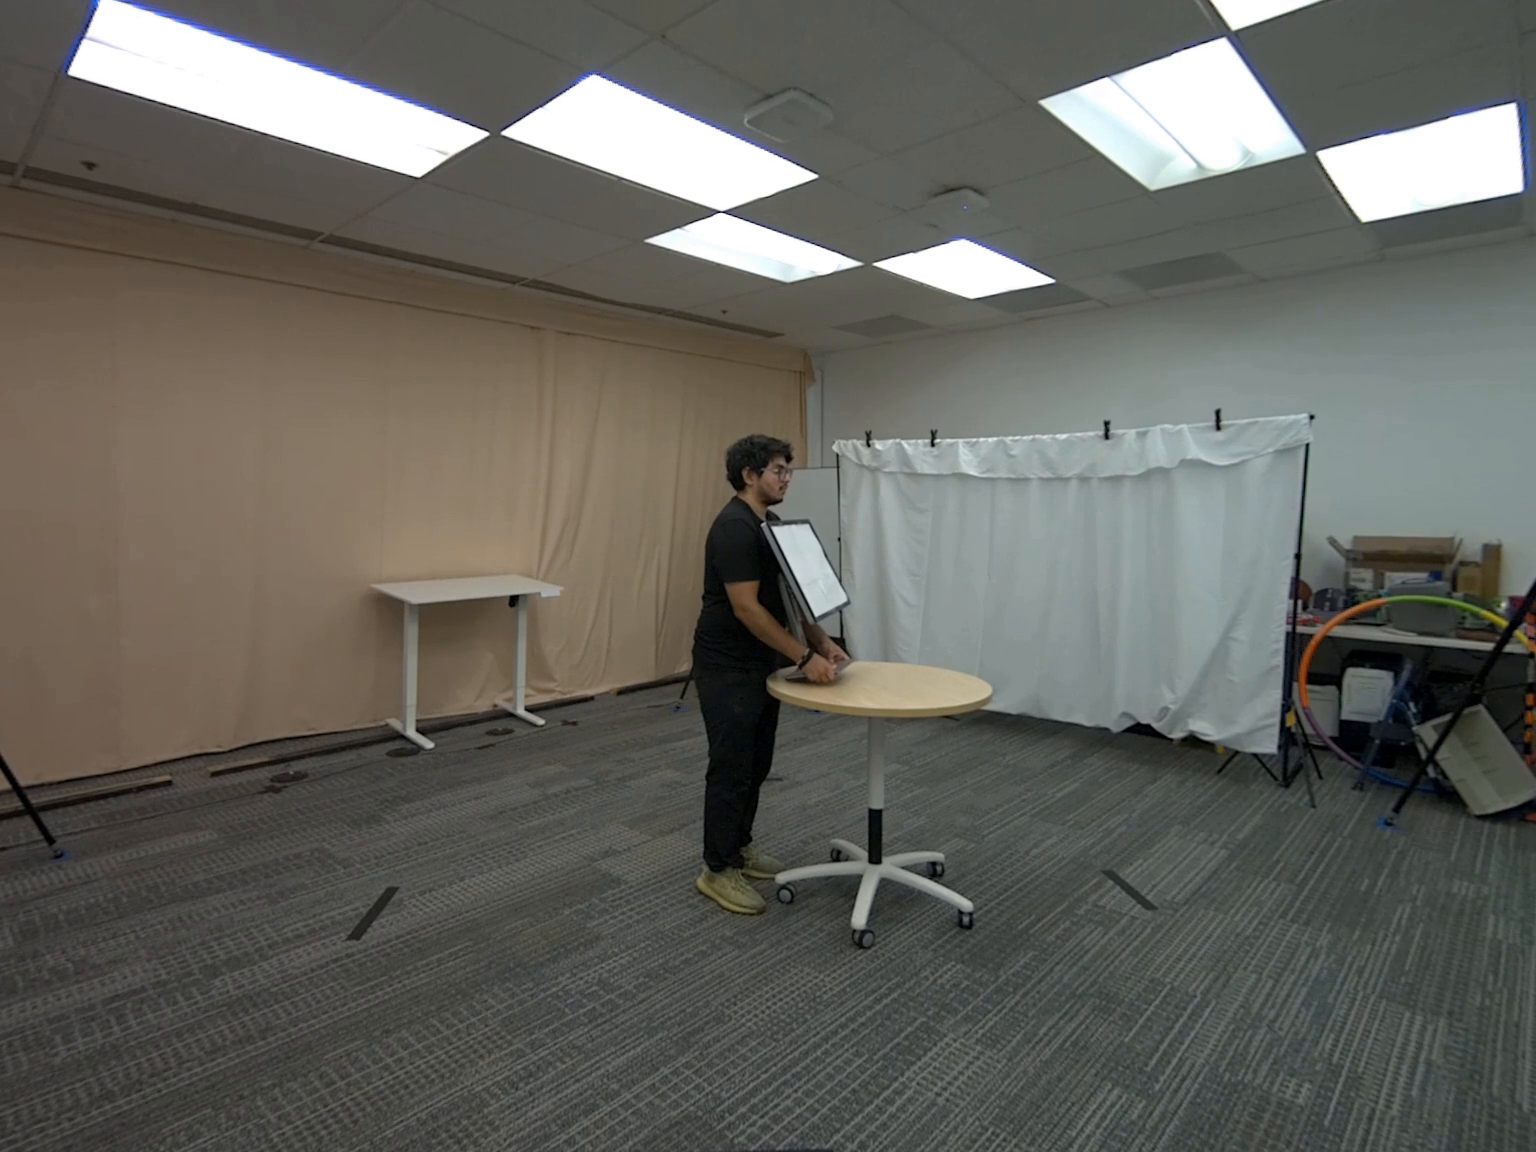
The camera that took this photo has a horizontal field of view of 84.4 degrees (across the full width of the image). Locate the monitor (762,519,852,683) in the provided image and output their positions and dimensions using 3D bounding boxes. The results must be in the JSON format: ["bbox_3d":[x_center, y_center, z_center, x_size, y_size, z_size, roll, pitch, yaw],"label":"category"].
[{"bbox_3d":[0.127,0.078,2.973,0.213,0.556,0.555,-20,-3,18],"label":"monitor"}]
